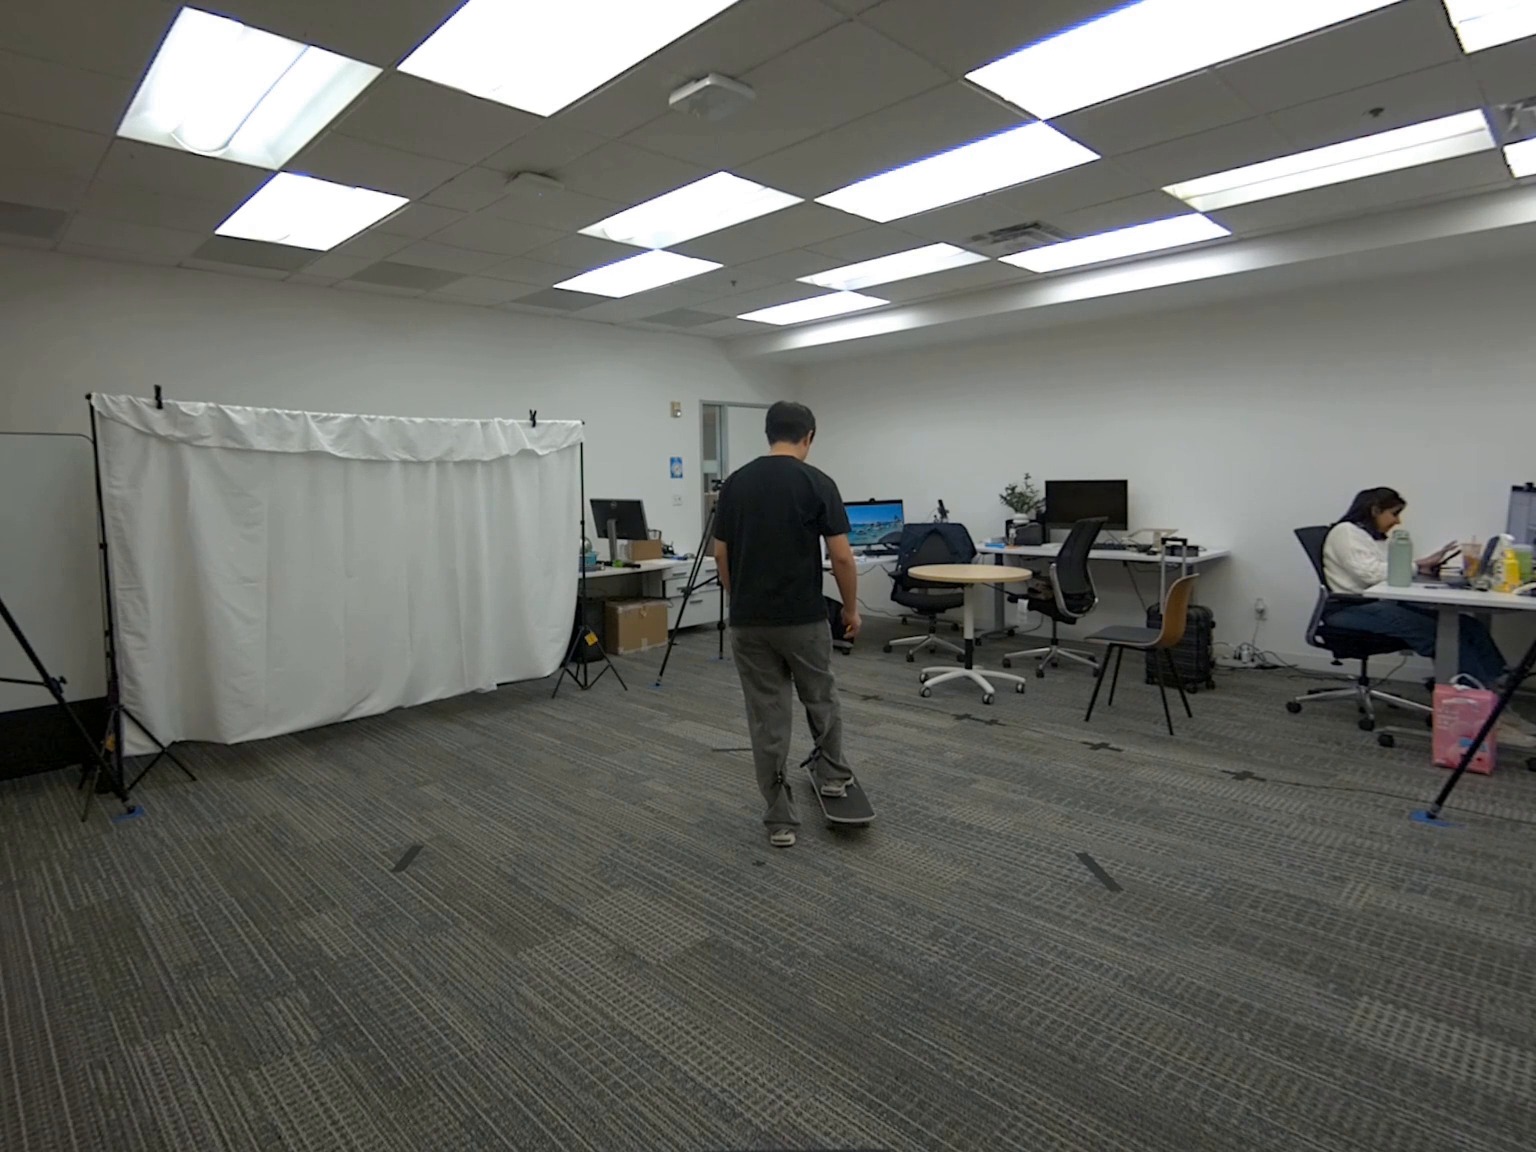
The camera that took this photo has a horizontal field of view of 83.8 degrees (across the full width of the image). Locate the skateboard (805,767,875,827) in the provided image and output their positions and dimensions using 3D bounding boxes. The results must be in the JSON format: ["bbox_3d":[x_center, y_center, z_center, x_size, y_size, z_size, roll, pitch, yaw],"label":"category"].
[{"bbox_3d":[0.301,0.928,3.629,0.192,0.110,0.793,-2,7,-6],"label":"skateboard"}]
